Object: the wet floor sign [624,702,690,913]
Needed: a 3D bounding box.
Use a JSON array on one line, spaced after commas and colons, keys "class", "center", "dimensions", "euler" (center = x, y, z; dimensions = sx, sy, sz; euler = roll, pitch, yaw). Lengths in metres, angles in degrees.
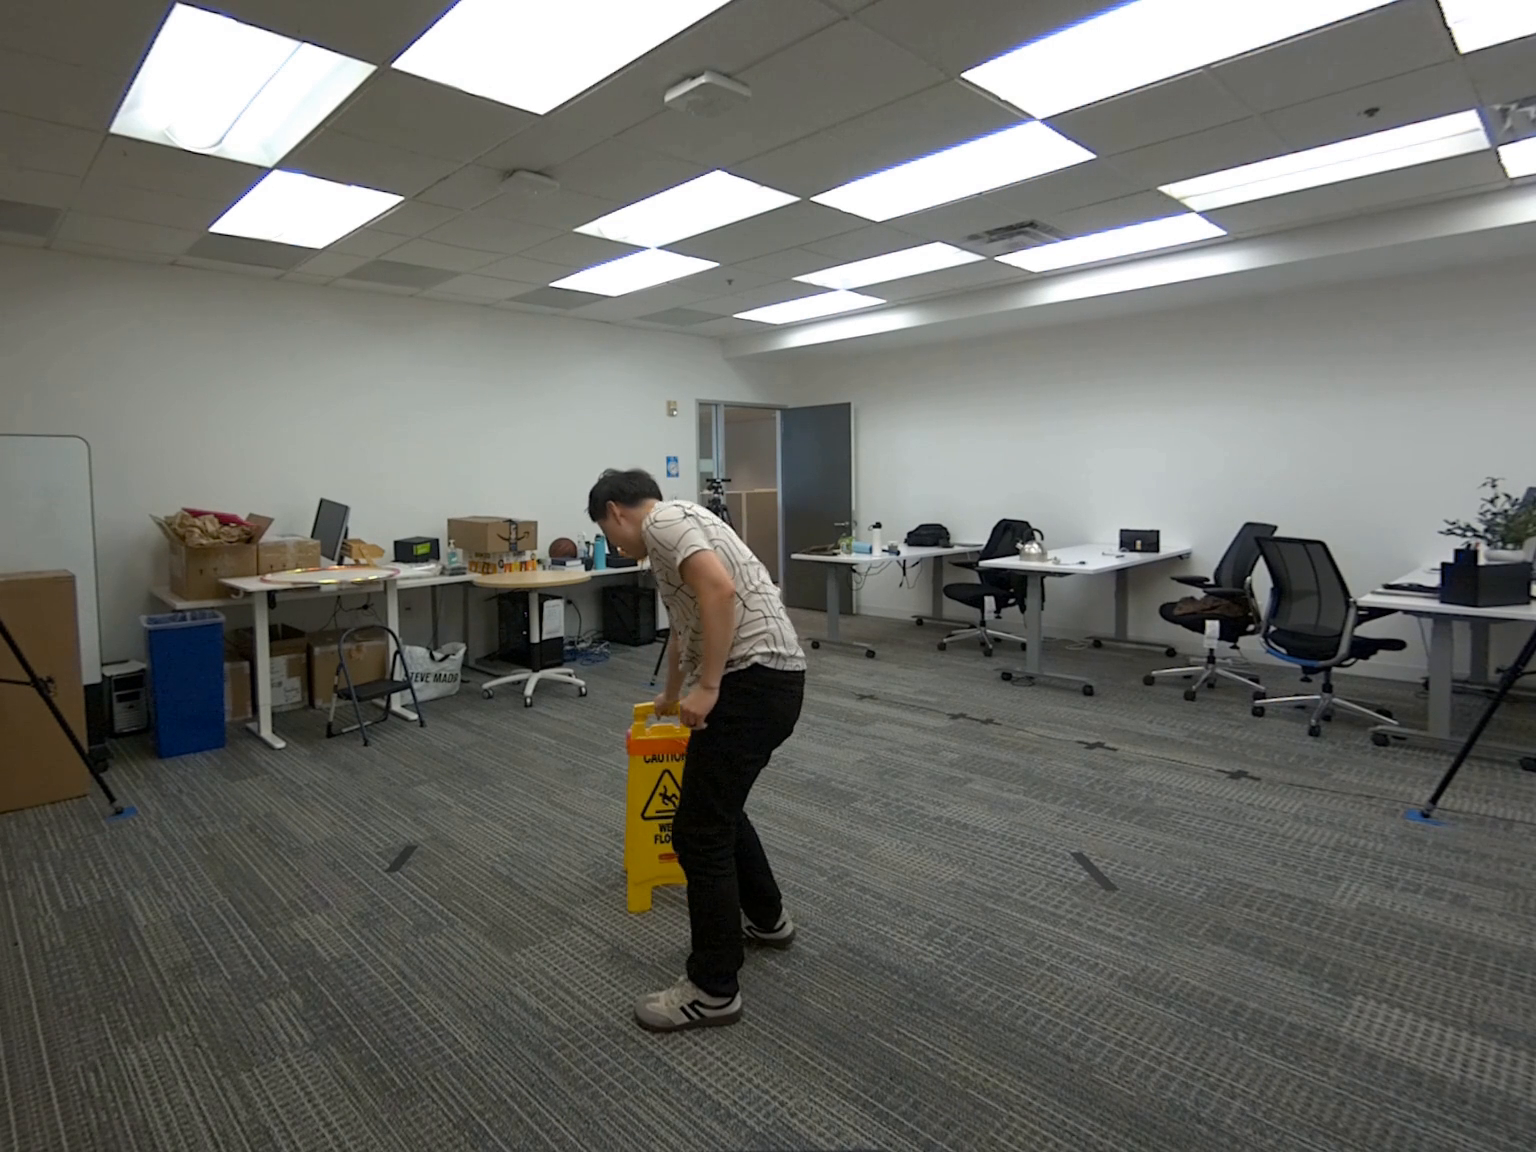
[{"class": "wet floor sign", "center": [-0.353, 0.744, 2.914], "dimensions": [0.280, 0.643, 0.293], "euler": [-3, 5, -10]}]
